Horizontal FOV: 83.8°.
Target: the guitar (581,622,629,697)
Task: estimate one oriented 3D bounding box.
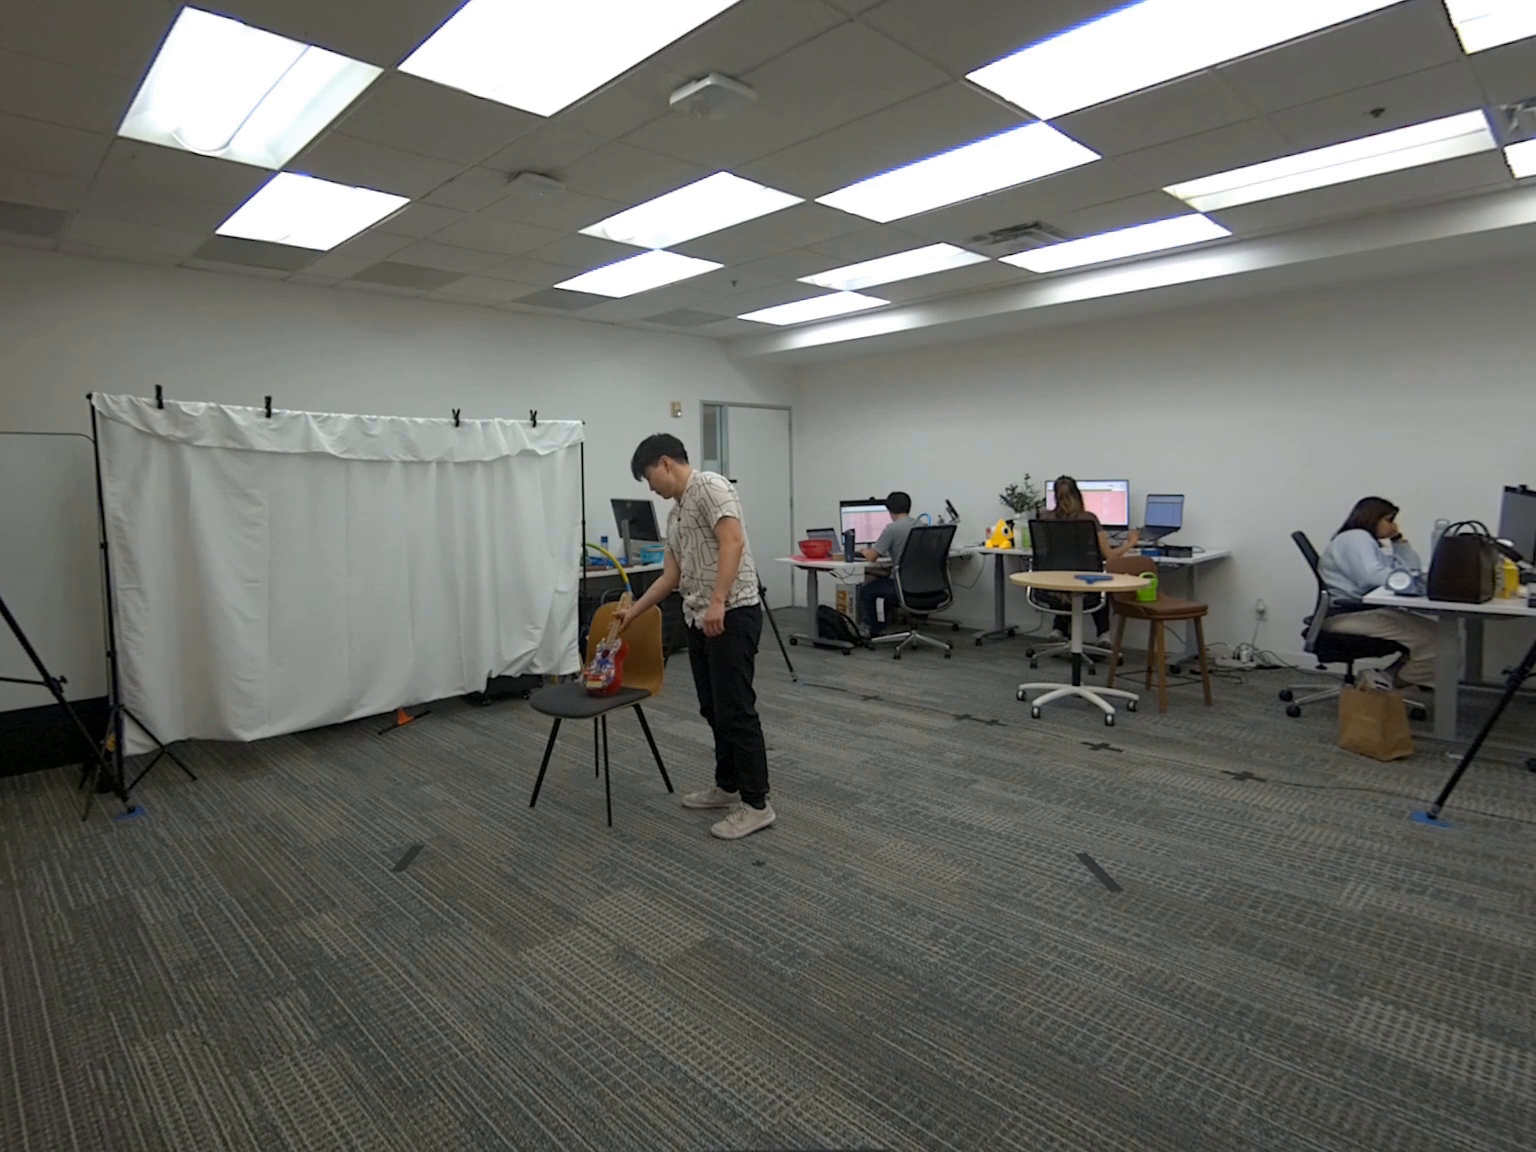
[{"bbox_3d":[-0.669,0.299,3.804,0.199,0.503,0.068,3,-32,36],"label":"guitar"}]
